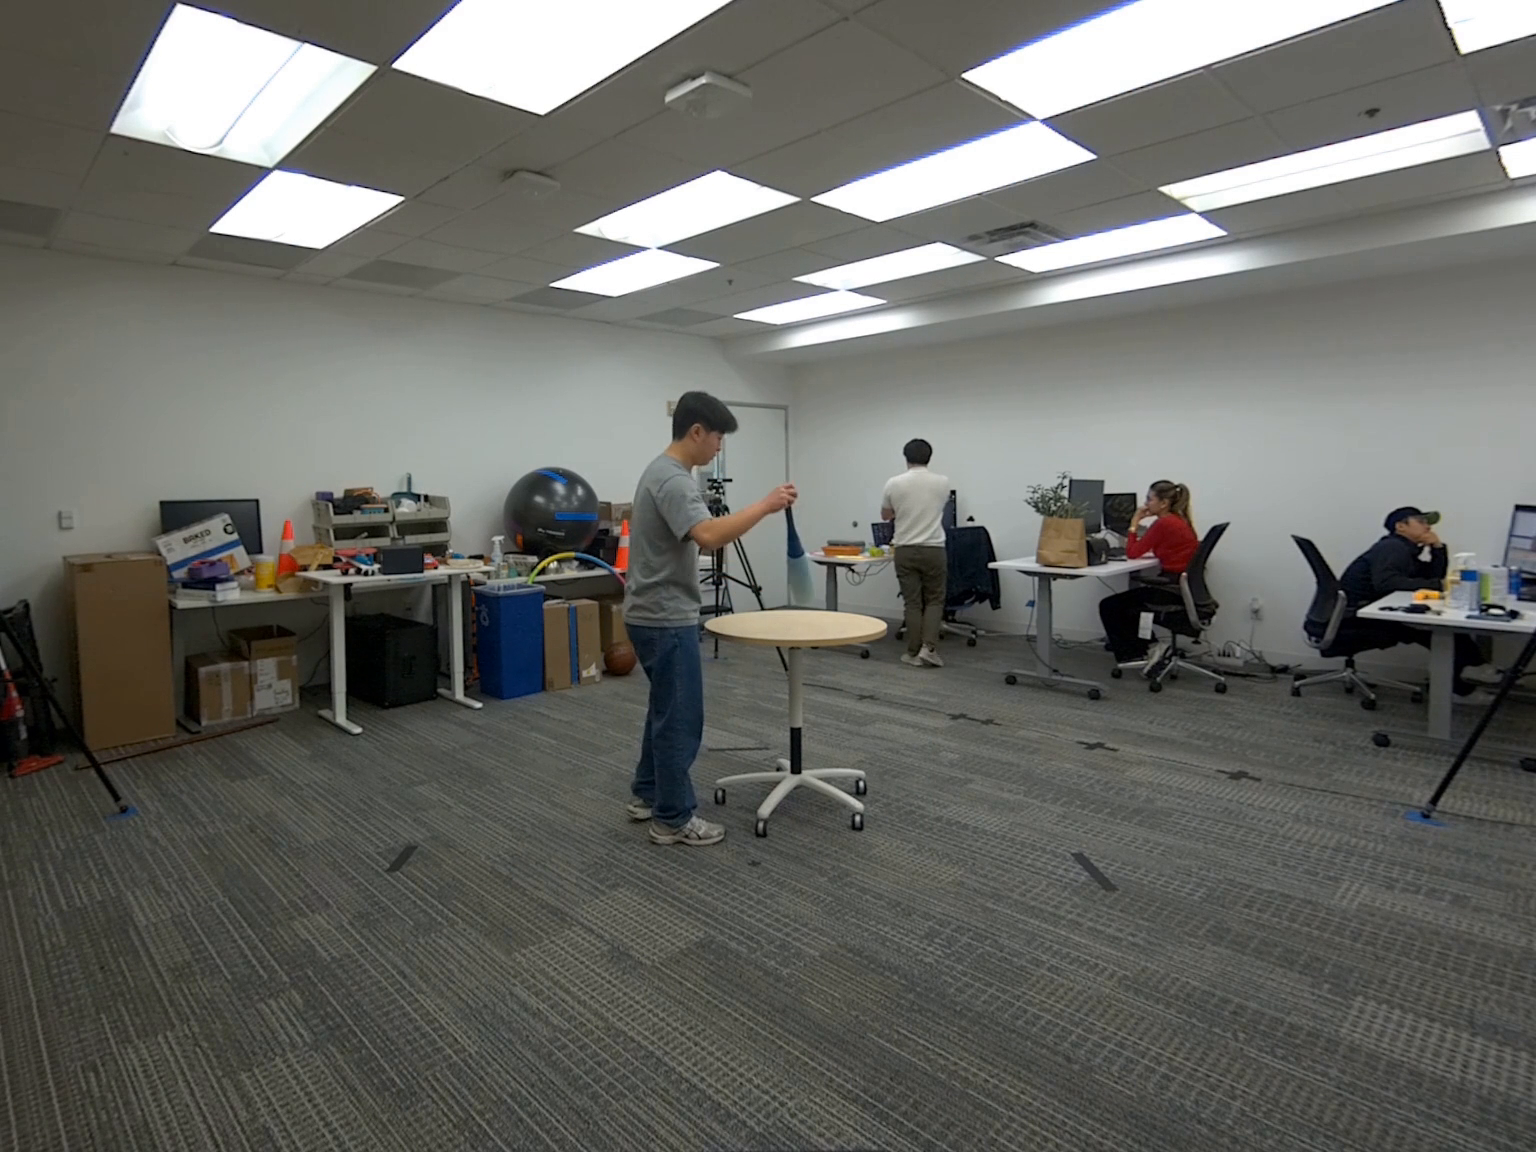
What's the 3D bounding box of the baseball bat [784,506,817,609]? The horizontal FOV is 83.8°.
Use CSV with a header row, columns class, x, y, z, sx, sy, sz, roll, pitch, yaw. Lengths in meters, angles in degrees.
class,x,y,z,sx,sy,sz,roll,pitch,yaw
baseball bat,0.095,-0.081,3.244,0.089,0.526,0.091,-6,40,4
